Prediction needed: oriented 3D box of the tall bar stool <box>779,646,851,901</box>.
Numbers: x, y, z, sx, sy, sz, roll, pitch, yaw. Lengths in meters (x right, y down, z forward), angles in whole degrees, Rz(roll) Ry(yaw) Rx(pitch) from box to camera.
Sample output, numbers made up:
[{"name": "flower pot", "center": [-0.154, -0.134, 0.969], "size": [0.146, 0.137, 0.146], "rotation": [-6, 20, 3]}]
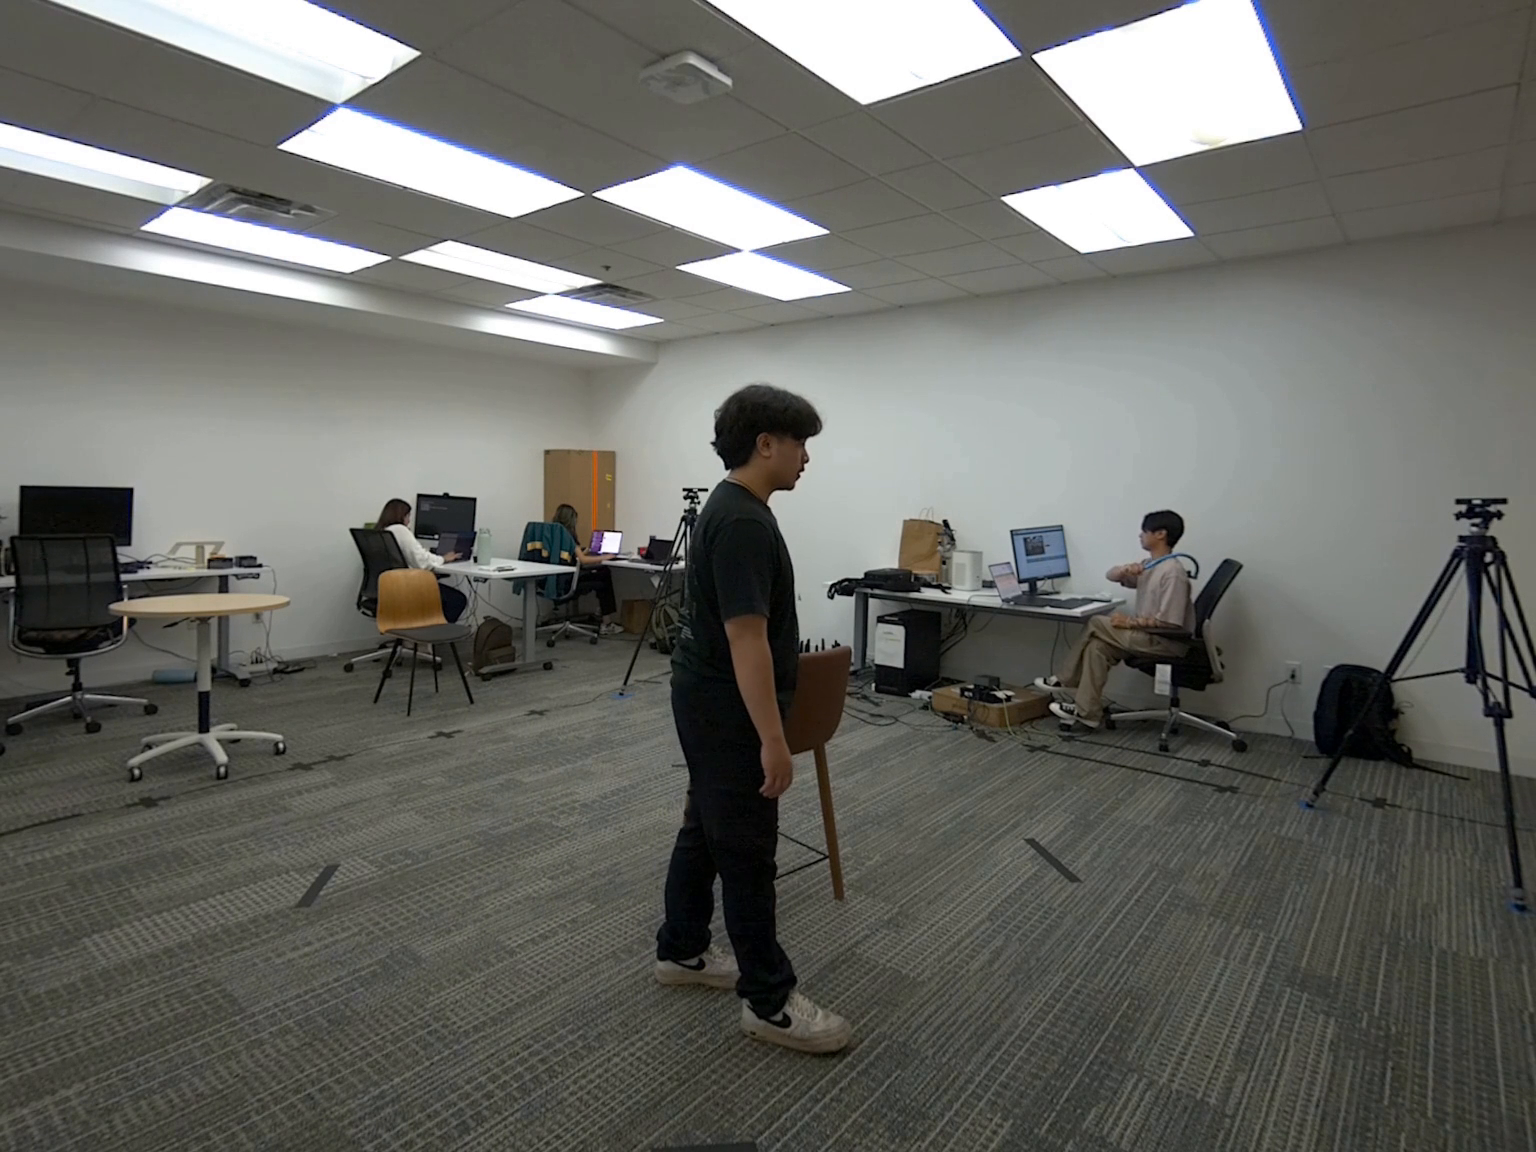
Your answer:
[{"name": "tall bar stool", "center": [-0.014, 0.658, 2.929], "size": [0.442, 0.886, 0.484], "rotation": [-1, 6, -44]}]
